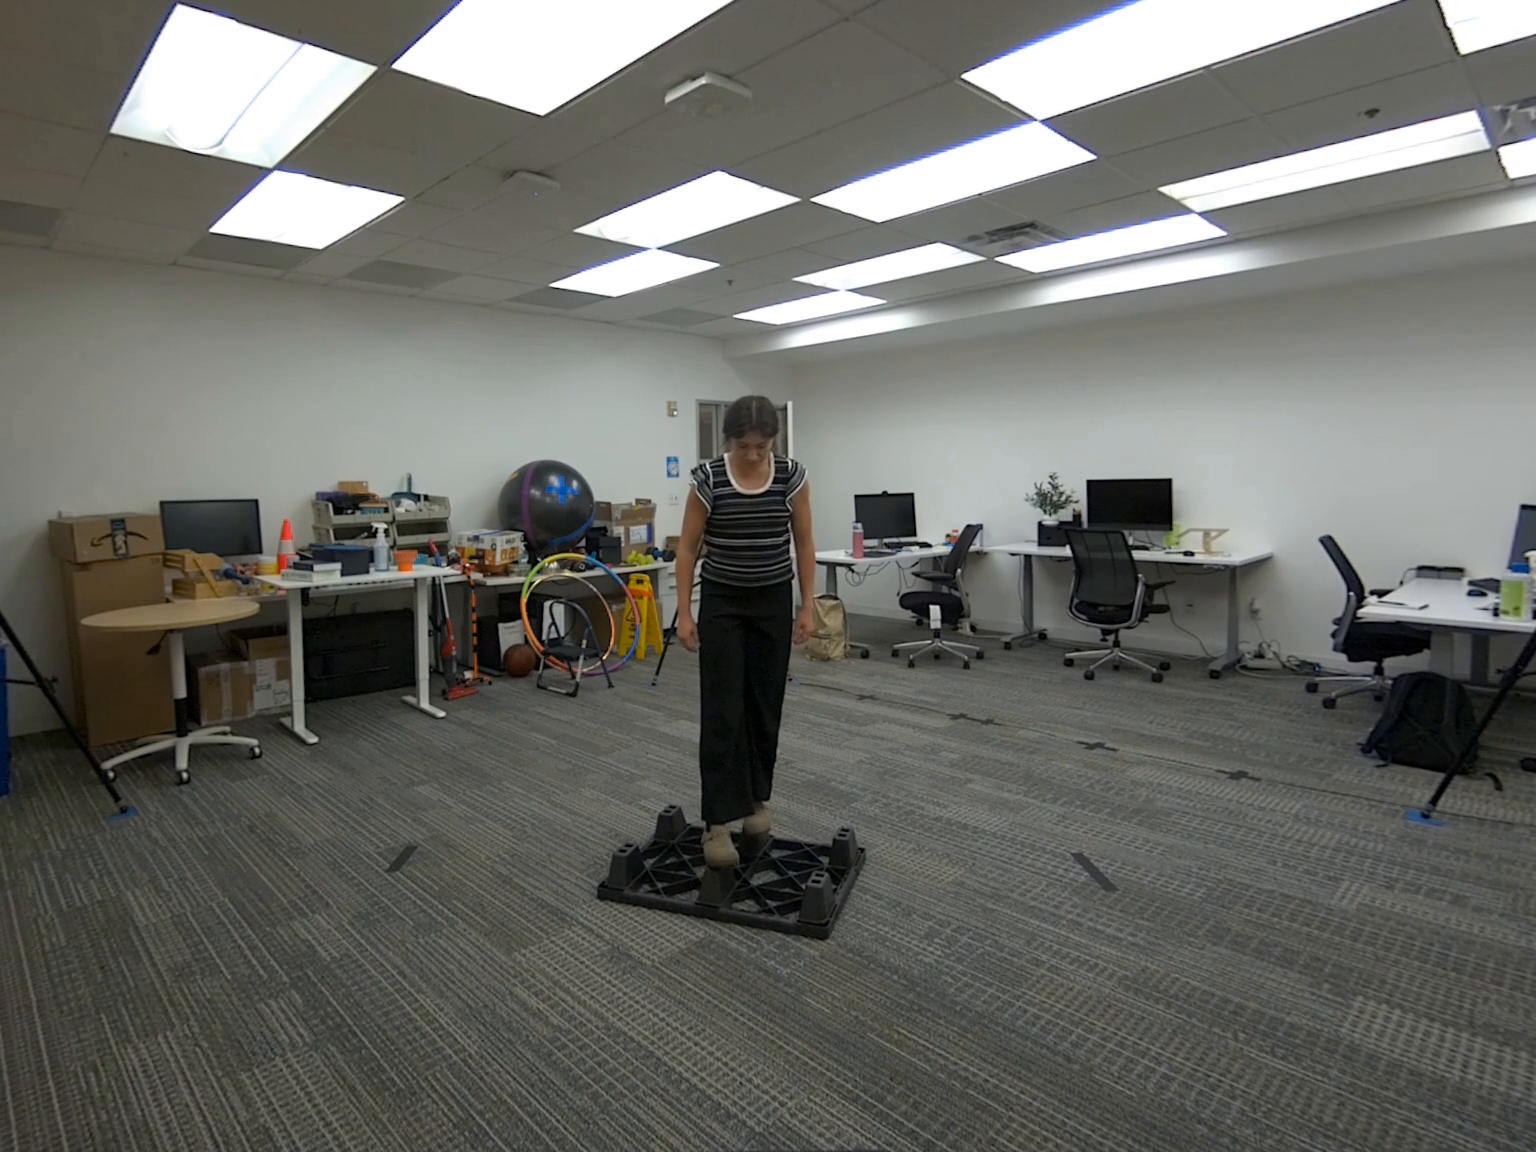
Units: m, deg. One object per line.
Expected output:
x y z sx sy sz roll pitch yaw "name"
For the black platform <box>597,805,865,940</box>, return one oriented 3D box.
-0.103 0.995 2.997 0.821 0.142 0.597 1 7 19 "black platform"
